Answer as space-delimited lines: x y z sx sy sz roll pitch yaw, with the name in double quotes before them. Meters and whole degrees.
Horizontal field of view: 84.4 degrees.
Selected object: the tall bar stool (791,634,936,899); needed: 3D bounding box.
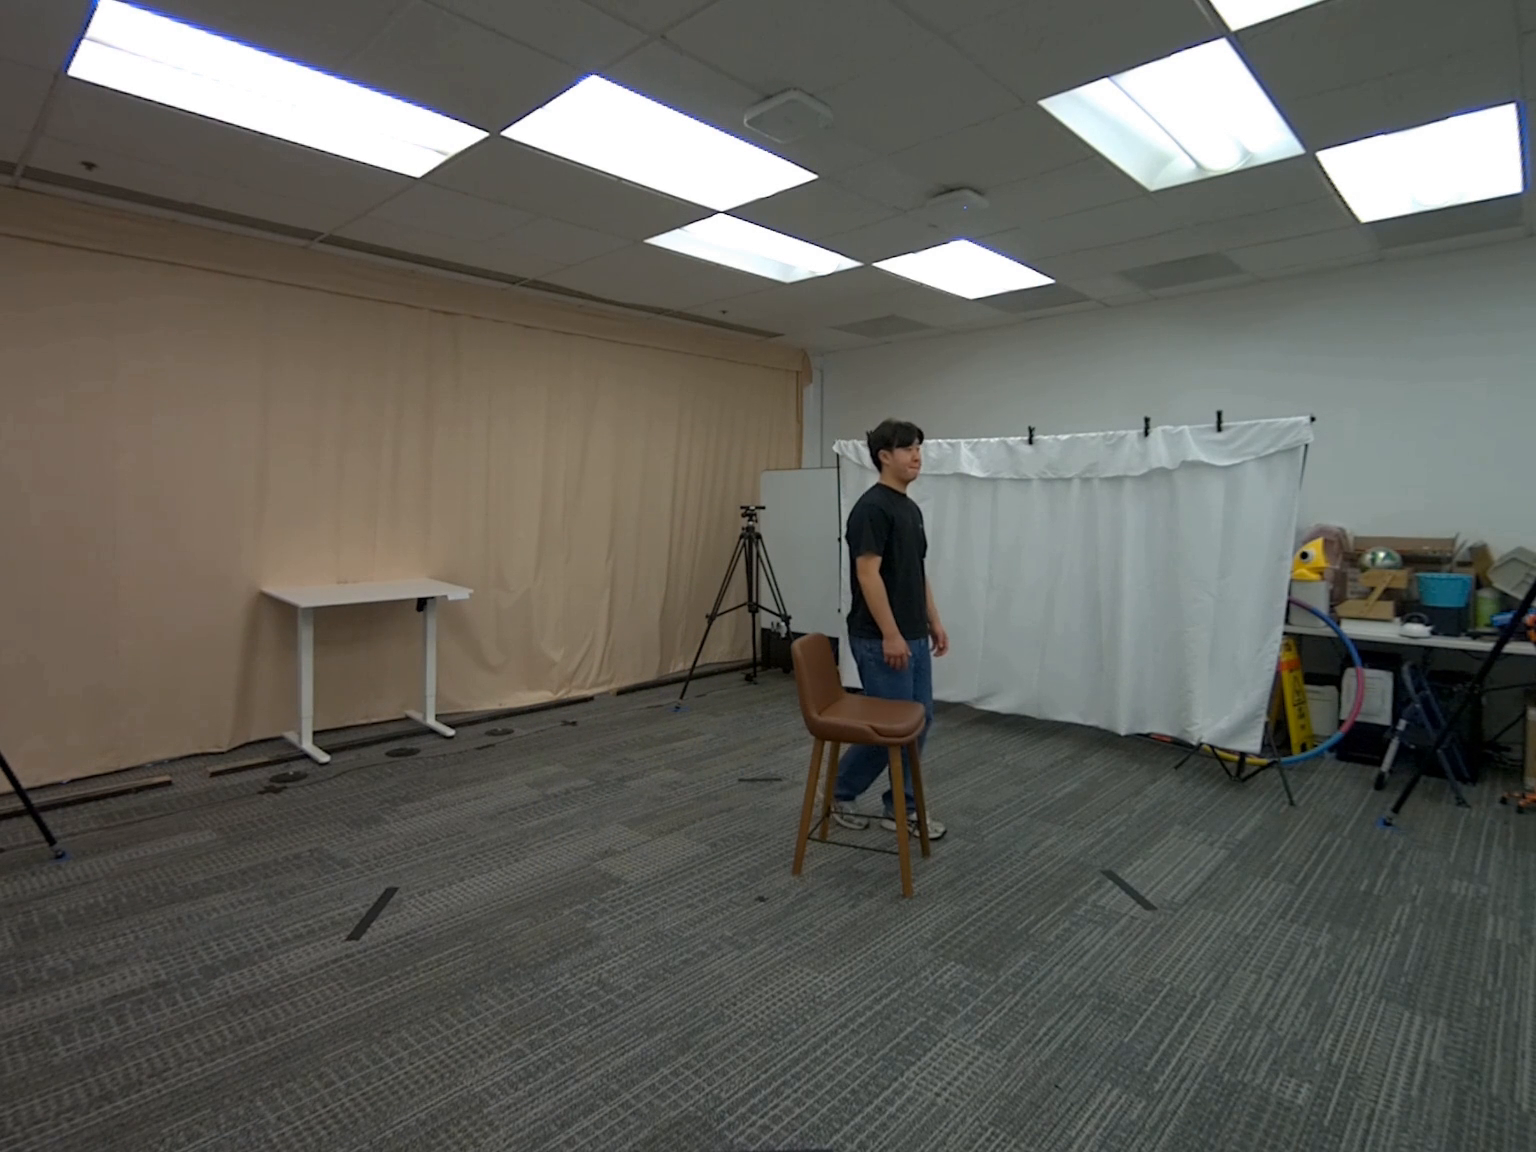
"tall bar stool" 0.364 0.687 3.232 0.479 0.888 0.446 -1 2 24
